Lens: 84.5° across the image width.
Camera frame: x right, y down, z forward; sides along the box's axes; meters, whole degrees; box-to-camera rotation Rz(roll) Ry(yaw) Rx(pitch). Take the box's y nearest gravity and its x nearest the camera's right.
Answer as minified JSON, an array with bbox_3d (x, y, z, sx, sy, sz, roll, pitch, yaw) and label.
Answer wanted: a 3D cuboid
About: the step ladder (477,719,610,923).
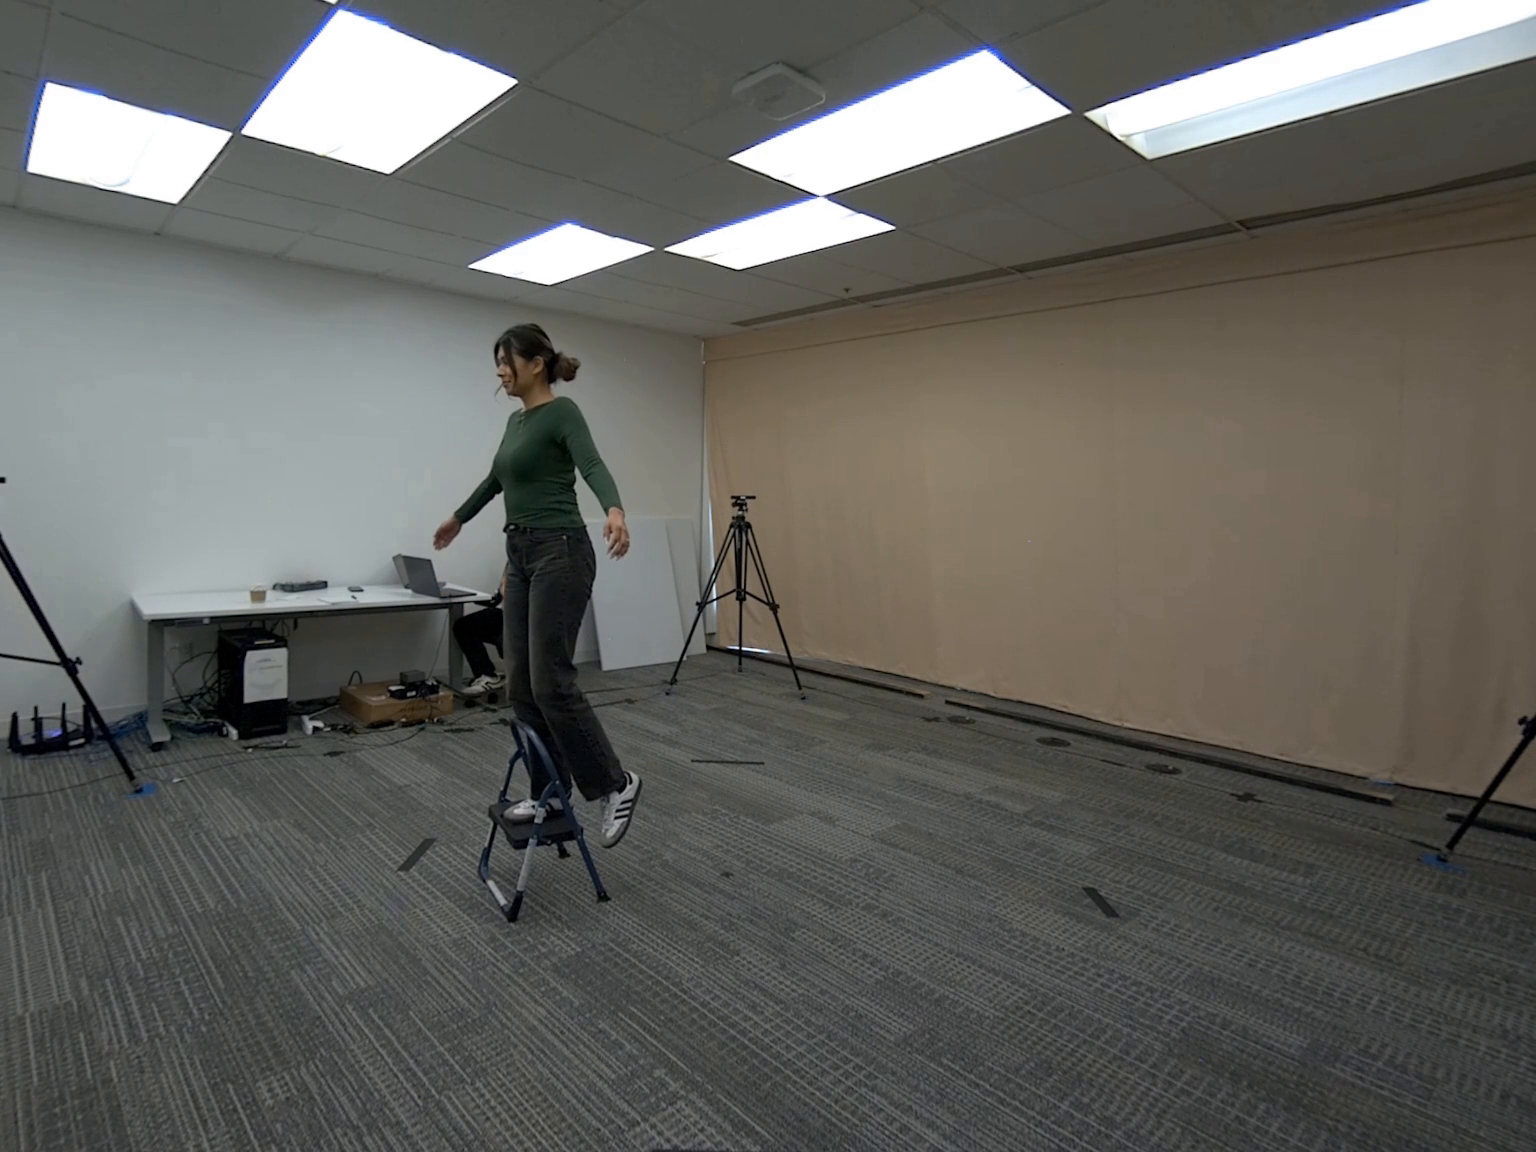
[{"bbox_3d":[-0.802,0.800,2.961,0.342,0.604,0.441,-1,4,-33],"label":"step ladder"}]
